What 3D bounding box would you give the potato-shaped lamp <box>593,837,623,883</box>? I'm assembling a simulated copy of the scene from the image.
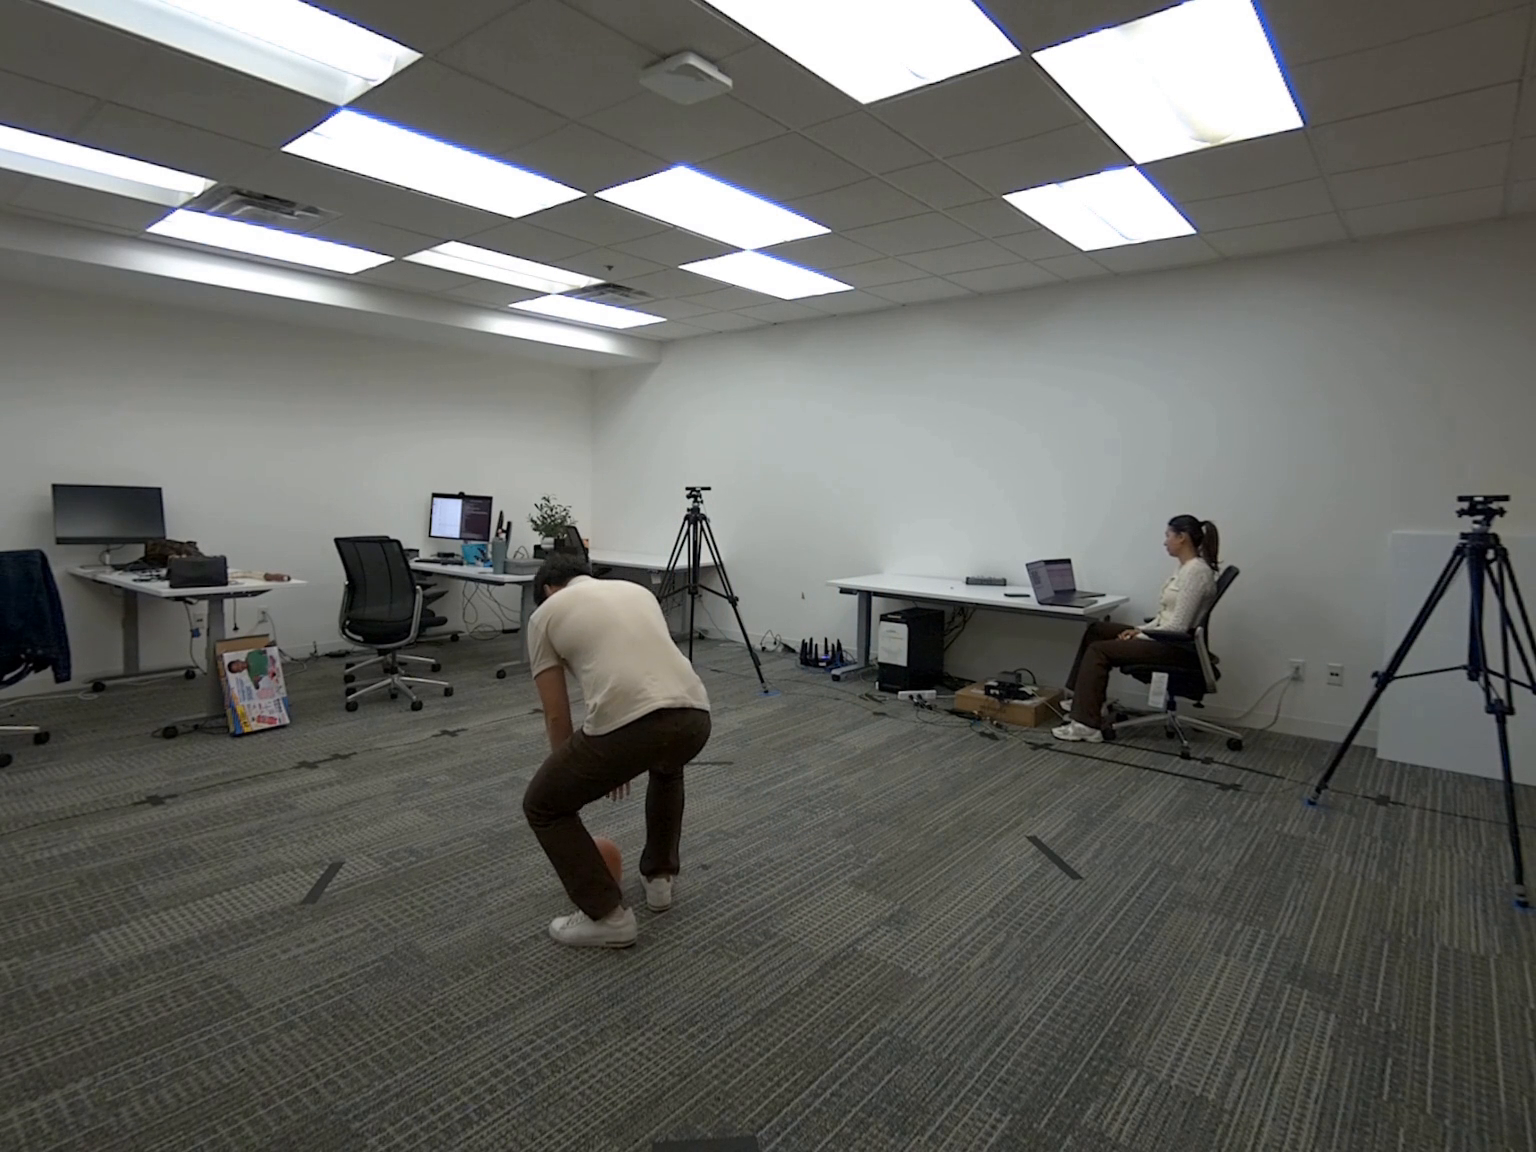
[{"bbox_3d":[-0.586,0.982,2.877,0.172,0.197,0.165,3,7,5],"label":"potato-shaped lamp"}]
